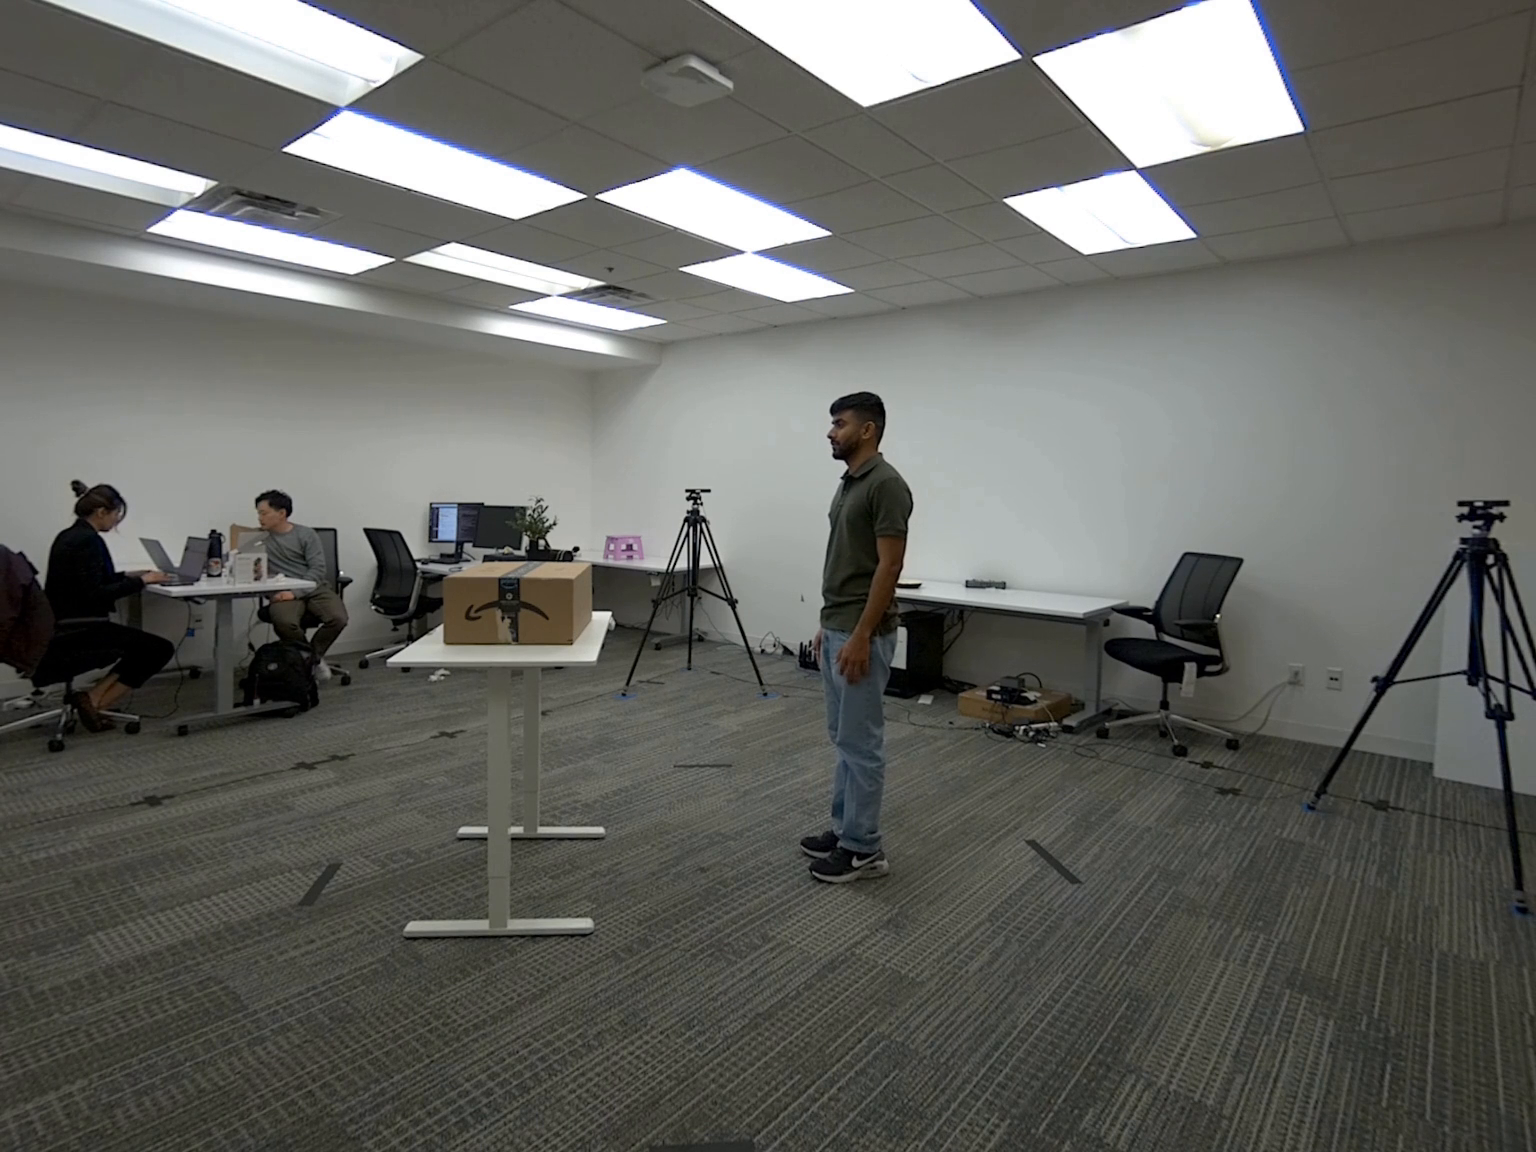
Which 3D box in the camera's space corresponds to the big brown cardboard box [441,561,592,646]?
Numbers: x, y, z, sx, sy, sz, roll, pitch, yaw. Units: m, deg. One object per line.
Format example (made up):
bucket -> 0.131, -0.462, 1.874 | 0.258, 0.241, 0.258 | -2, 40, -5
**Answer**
big brown cardboard box -> -0.874, 0.083, 3.007 | 0.416, 0.232, 0.593 | 0, 5, -4
